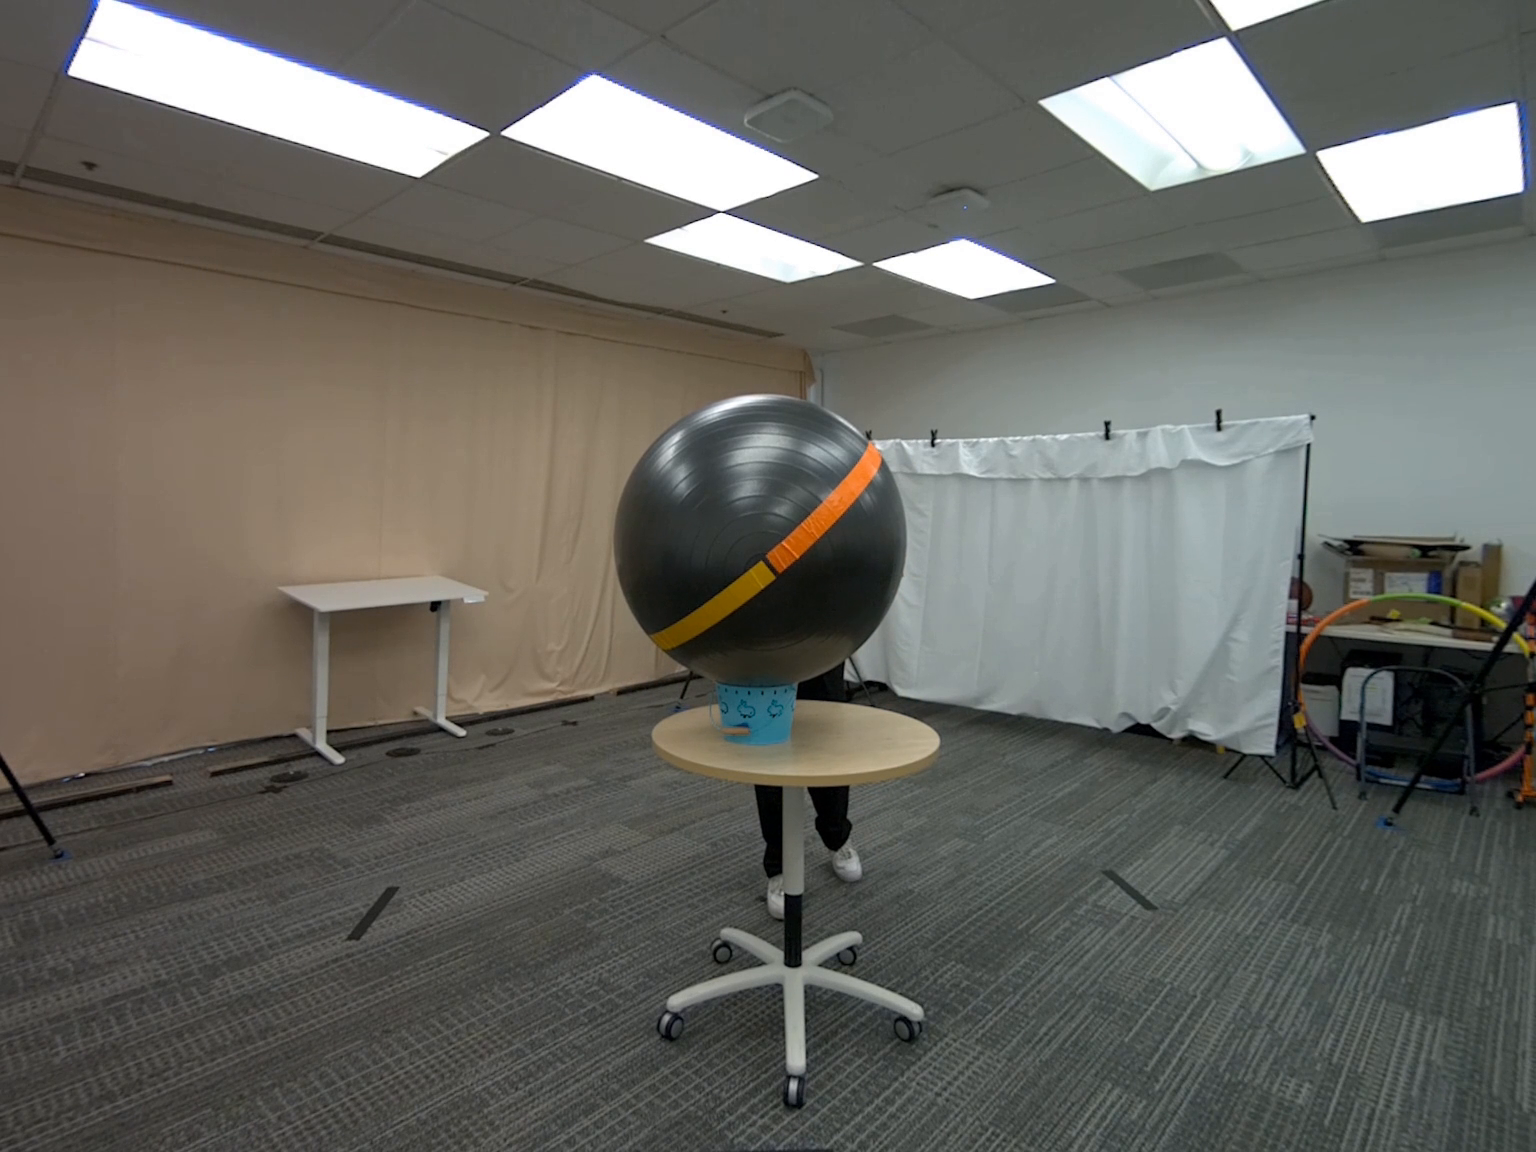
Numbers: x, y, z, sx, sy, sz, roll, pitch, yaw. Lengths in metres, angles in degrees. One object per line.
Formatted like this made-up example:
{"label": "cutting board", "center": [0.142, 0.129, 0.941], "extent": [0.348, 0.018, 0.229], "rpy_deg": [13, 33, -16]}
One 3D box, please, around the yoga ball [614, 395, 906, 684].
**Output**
{"label": "yoga ball", "center": [-0.021, -0.090, 2.193], "extent": [0.757, 0.756, 0.760], "rpy_deg": [0, 4, -2]}
